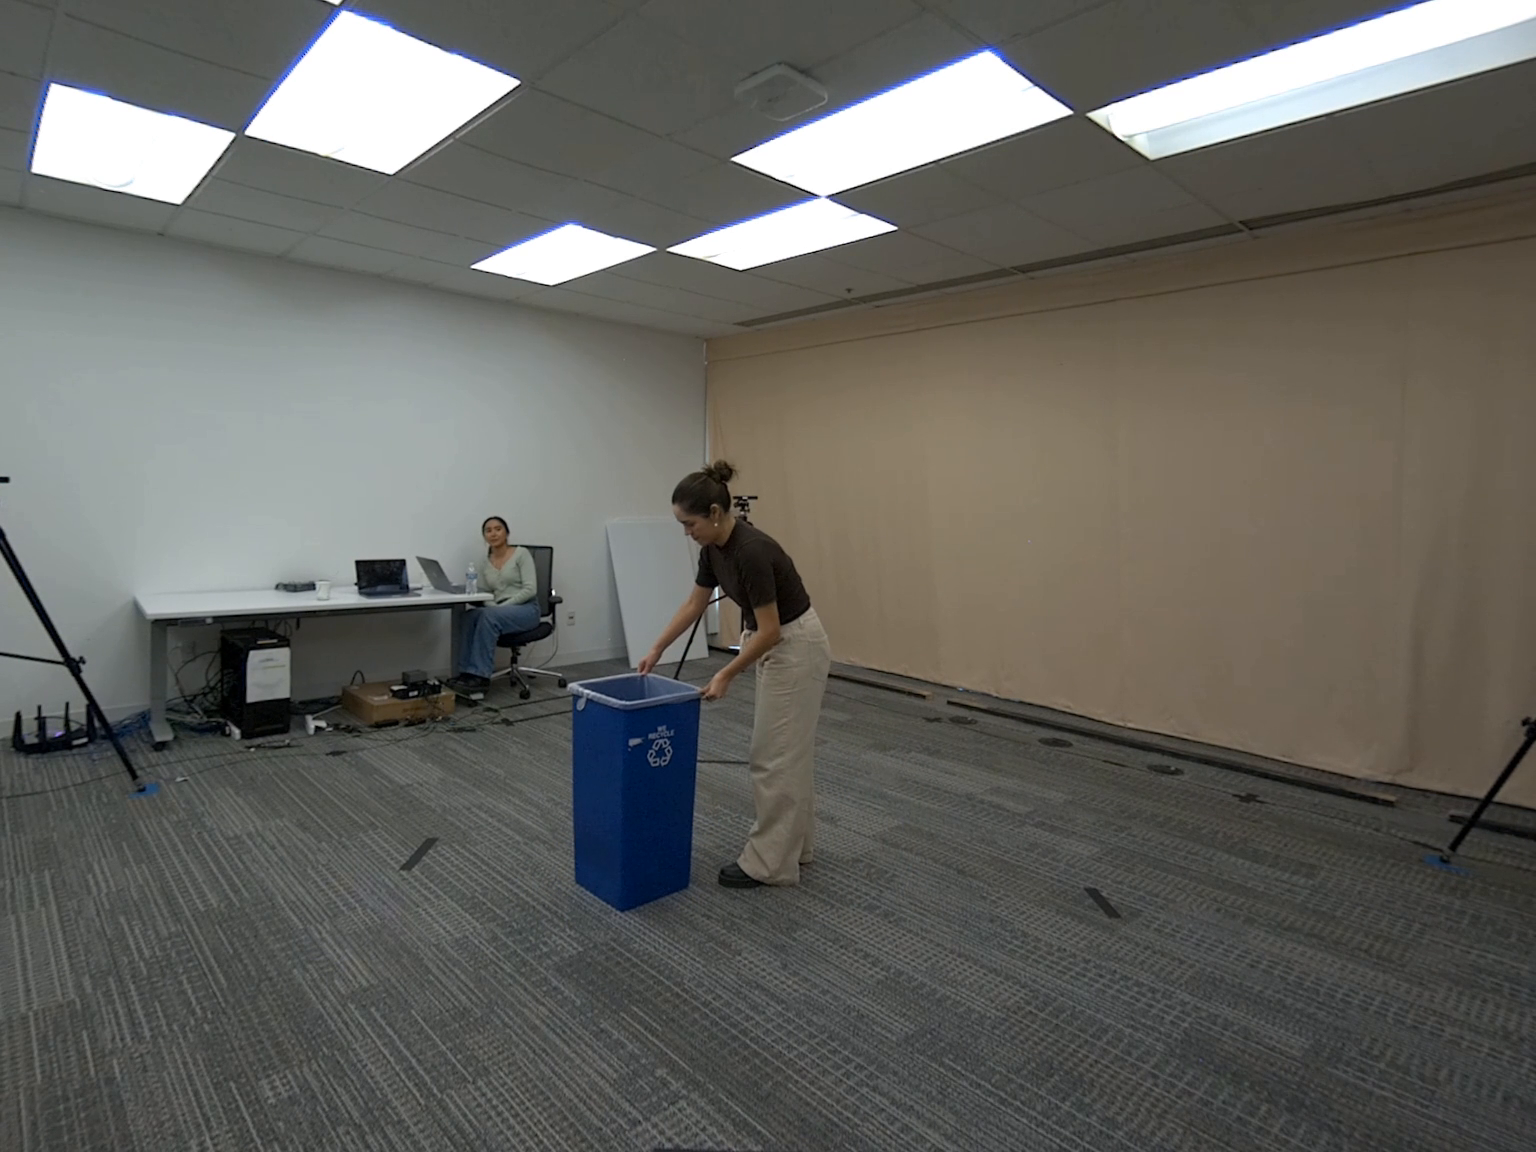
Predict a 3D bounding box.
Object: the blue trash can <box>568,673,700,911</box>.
[{"bbox_3d":[-0.481,0.747,2.999,0.365,0.712,0.388,-2,5,-44],"label":"blue trash can"}]
